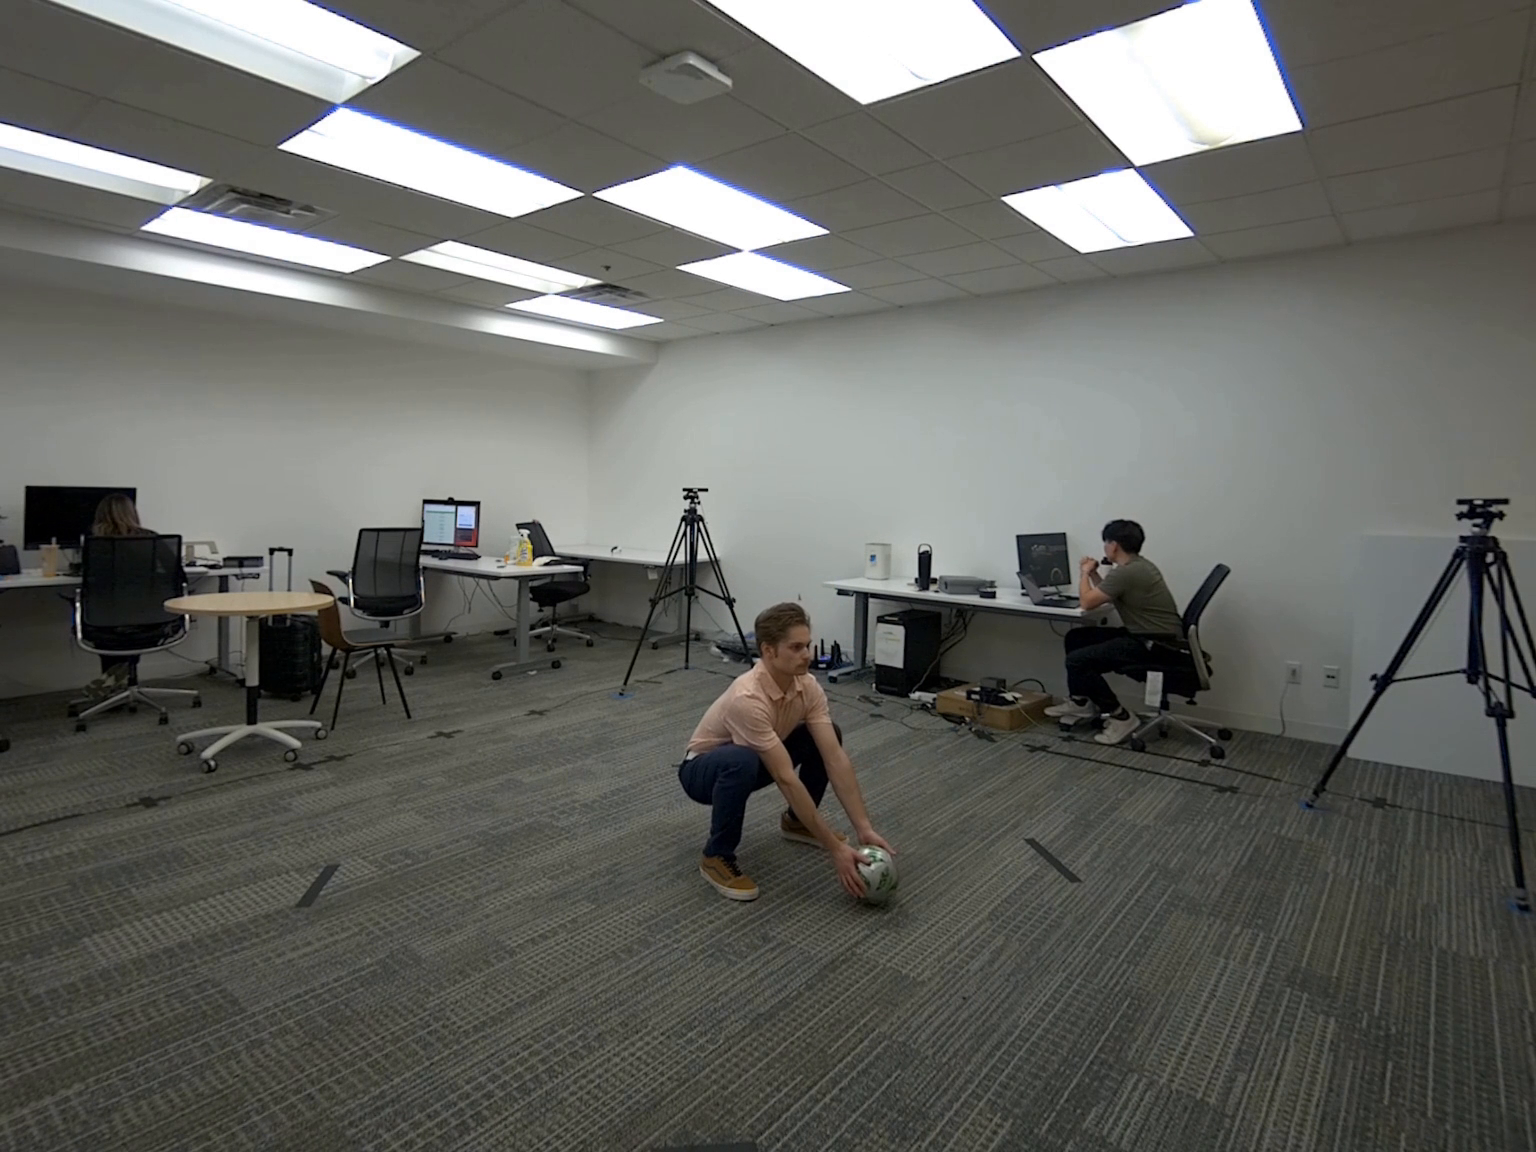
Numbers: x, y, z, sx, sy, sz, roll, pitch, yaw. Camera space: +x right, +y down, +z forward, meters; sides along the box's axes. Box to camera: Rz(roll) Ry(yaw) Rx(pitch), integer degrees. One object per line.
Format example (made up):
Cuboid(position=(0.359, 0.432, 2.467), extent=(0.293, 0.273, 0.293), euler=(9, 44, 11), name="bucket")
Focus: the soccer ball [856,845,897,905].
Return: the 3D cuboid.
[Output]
Cuboid(position=(0.338, 1.014, 2.885), extent=(0.187, 0.187, 0.188), euler=(1, 4, -2), name="soccer ball")
